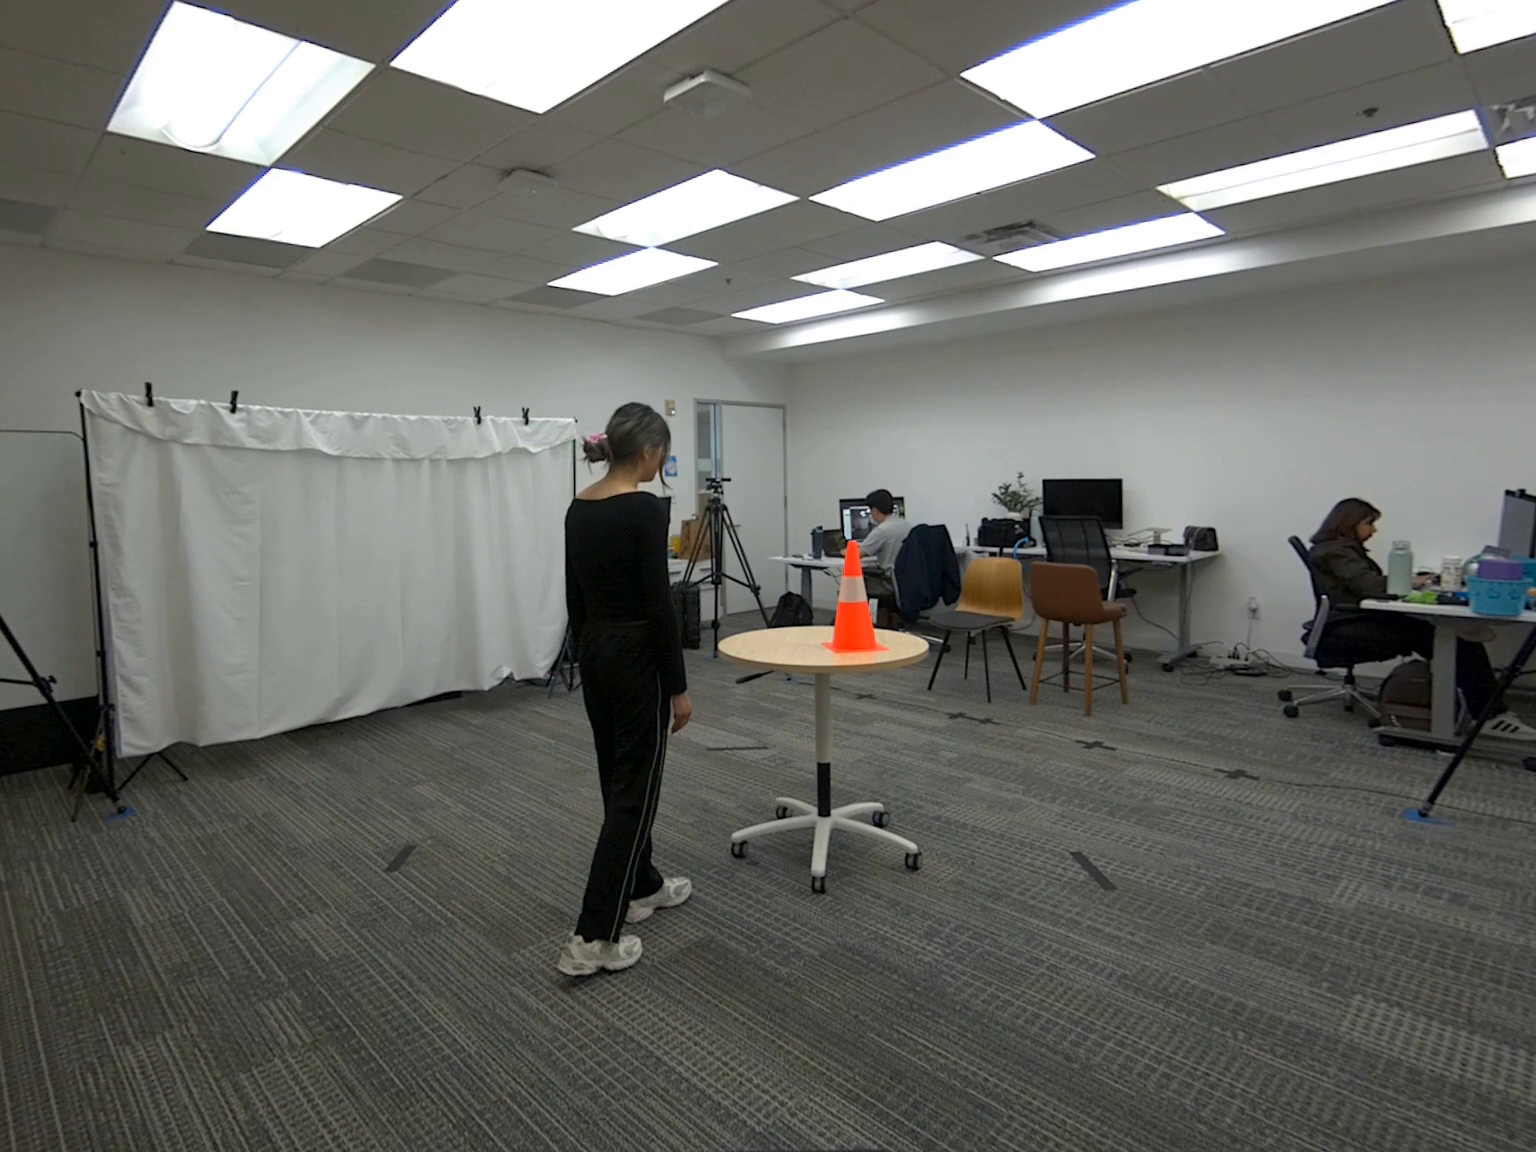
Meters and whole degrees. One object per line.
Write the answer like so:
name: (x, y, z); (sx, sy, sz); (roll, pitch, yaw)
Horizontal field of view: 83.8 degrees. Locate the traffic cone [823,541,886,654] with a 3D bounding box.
traffic cone: (0.305, 0.067, 3.064); (0.201, 0.383, 0.208); (-2, 3, -15)
